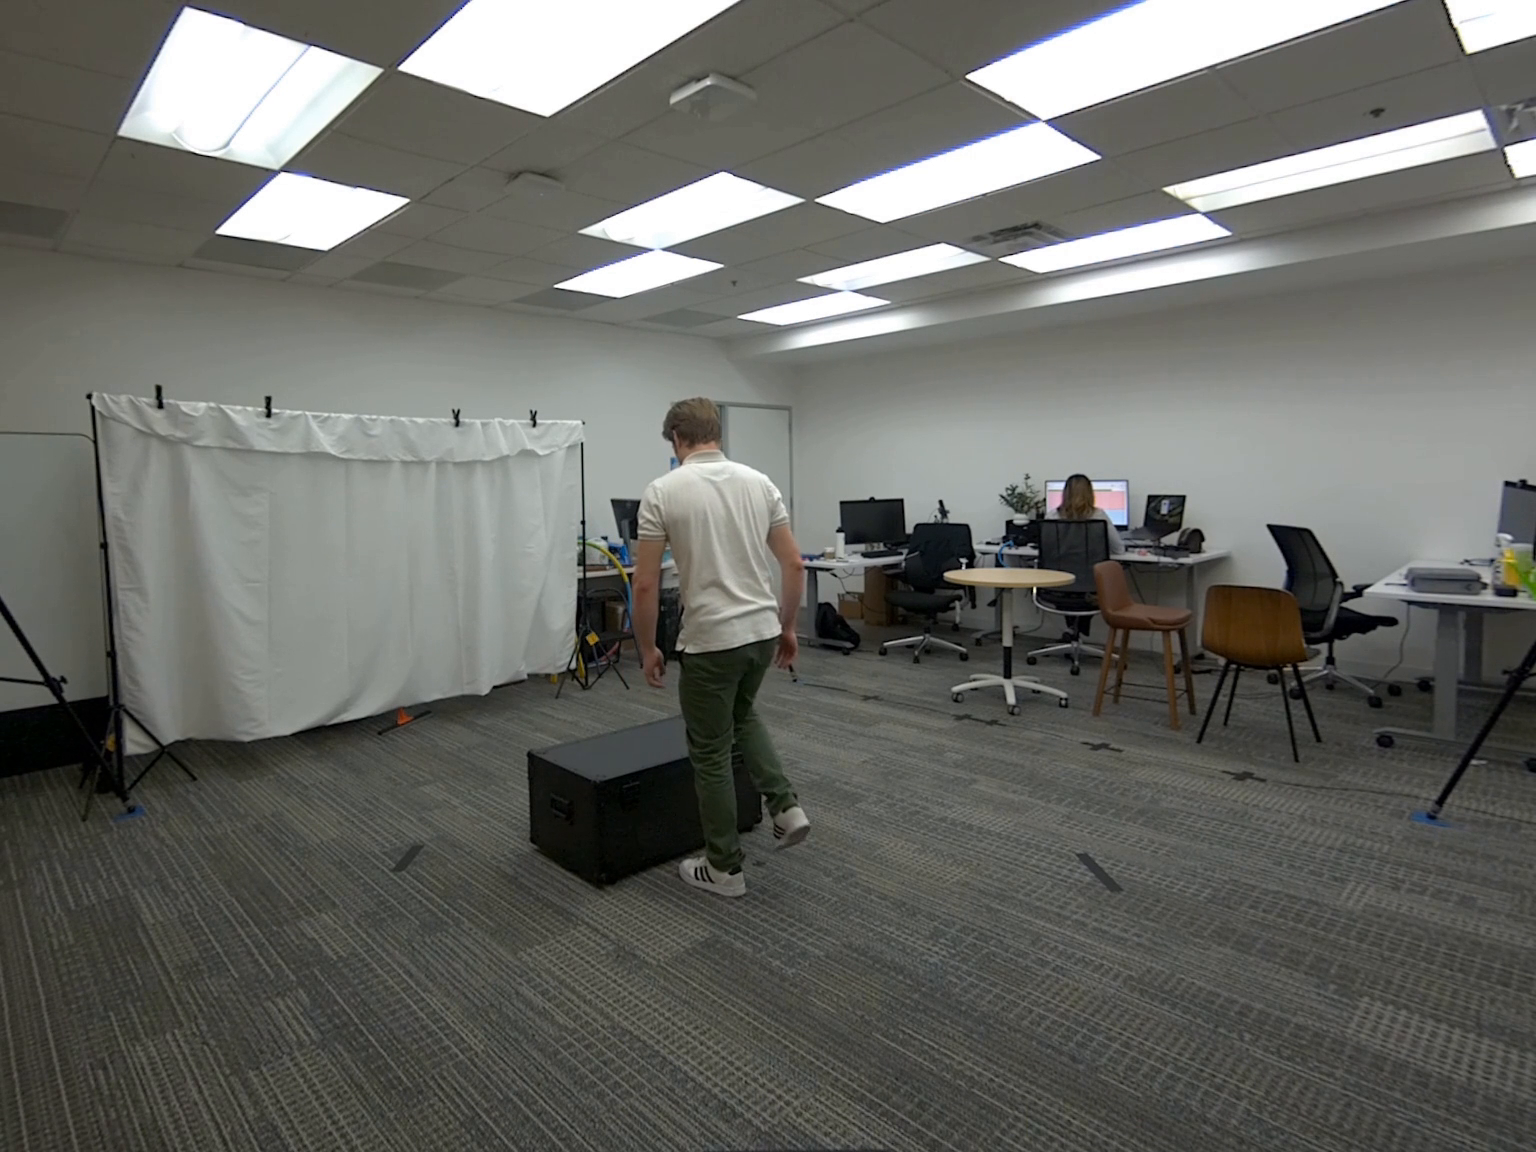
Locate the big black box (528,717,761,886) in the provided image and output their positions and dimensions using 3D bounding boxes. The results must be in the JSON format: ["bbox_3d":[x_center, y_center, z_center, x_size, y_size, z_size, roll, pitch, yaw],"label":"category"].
[{"bbox_3d":[-0.446,0.836,3.365,0.839,0.394,0.537,-8,9,-43],"label":"big black box"}]
